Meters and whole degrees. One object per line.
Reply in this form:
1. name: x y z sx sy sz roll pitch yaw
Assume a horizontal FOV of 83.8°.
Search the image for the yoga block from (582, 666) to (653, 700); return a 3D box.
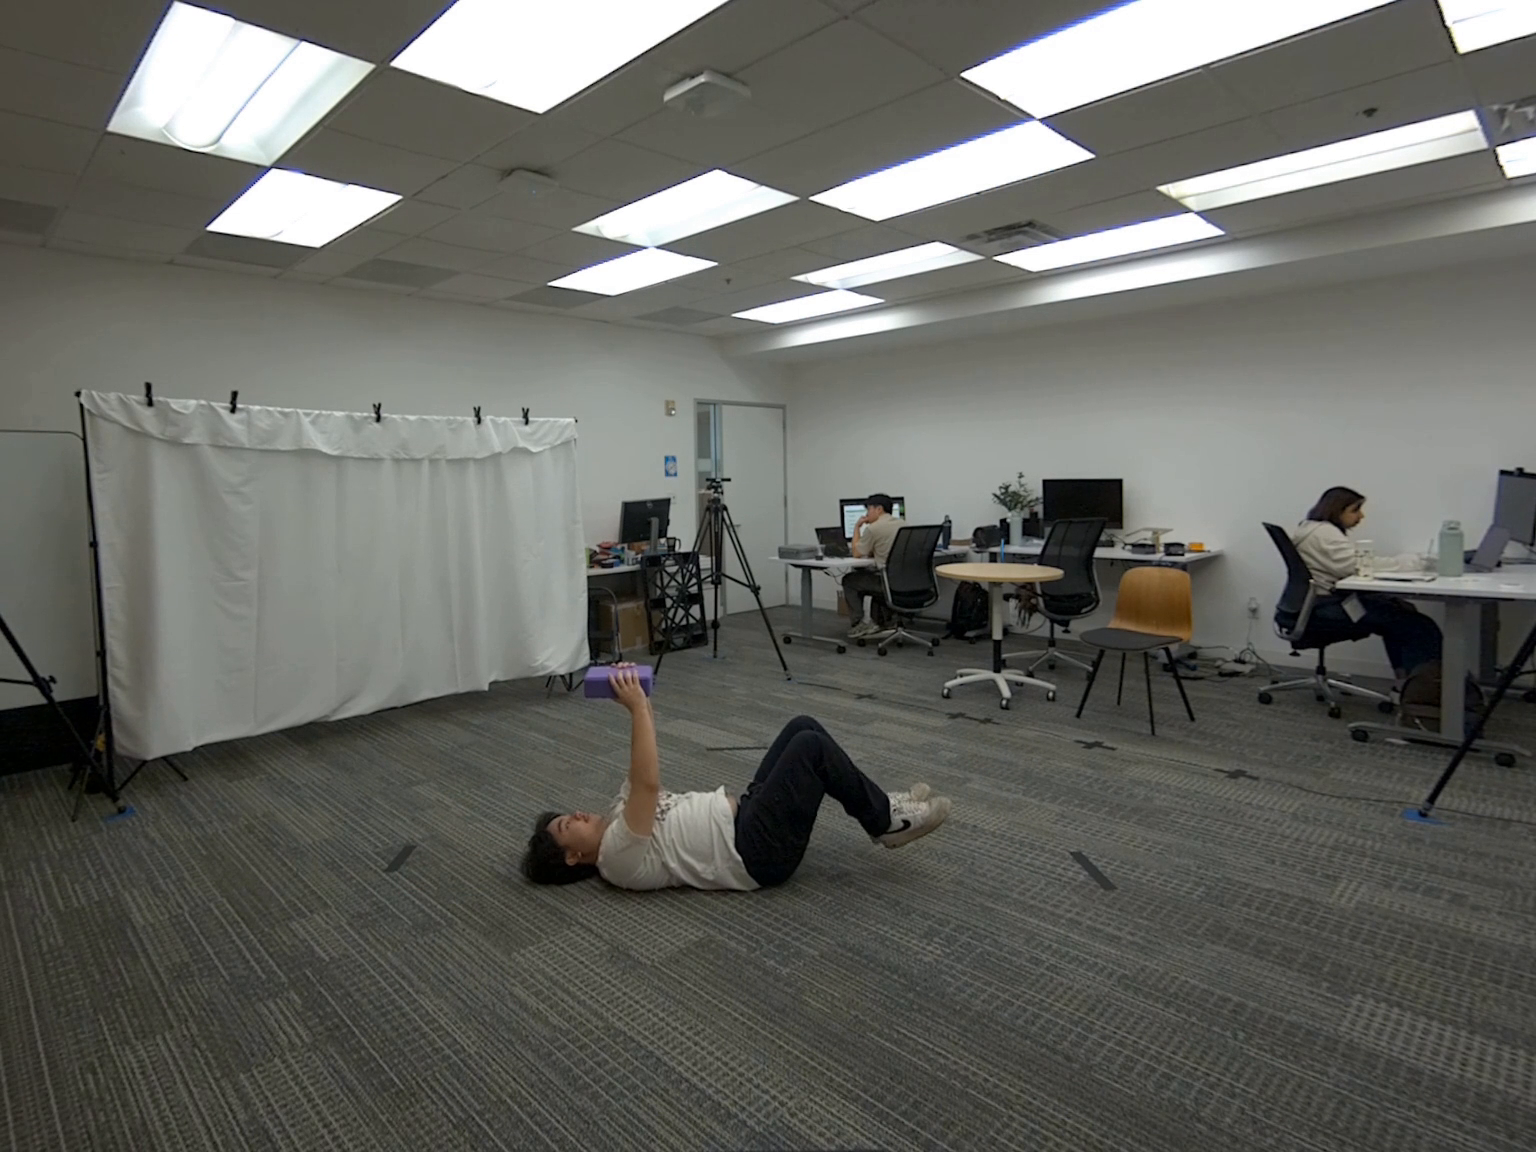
1. yoga block: -0.523 0.377 3.027 0.229 0.076 0.150 0 9 -3
